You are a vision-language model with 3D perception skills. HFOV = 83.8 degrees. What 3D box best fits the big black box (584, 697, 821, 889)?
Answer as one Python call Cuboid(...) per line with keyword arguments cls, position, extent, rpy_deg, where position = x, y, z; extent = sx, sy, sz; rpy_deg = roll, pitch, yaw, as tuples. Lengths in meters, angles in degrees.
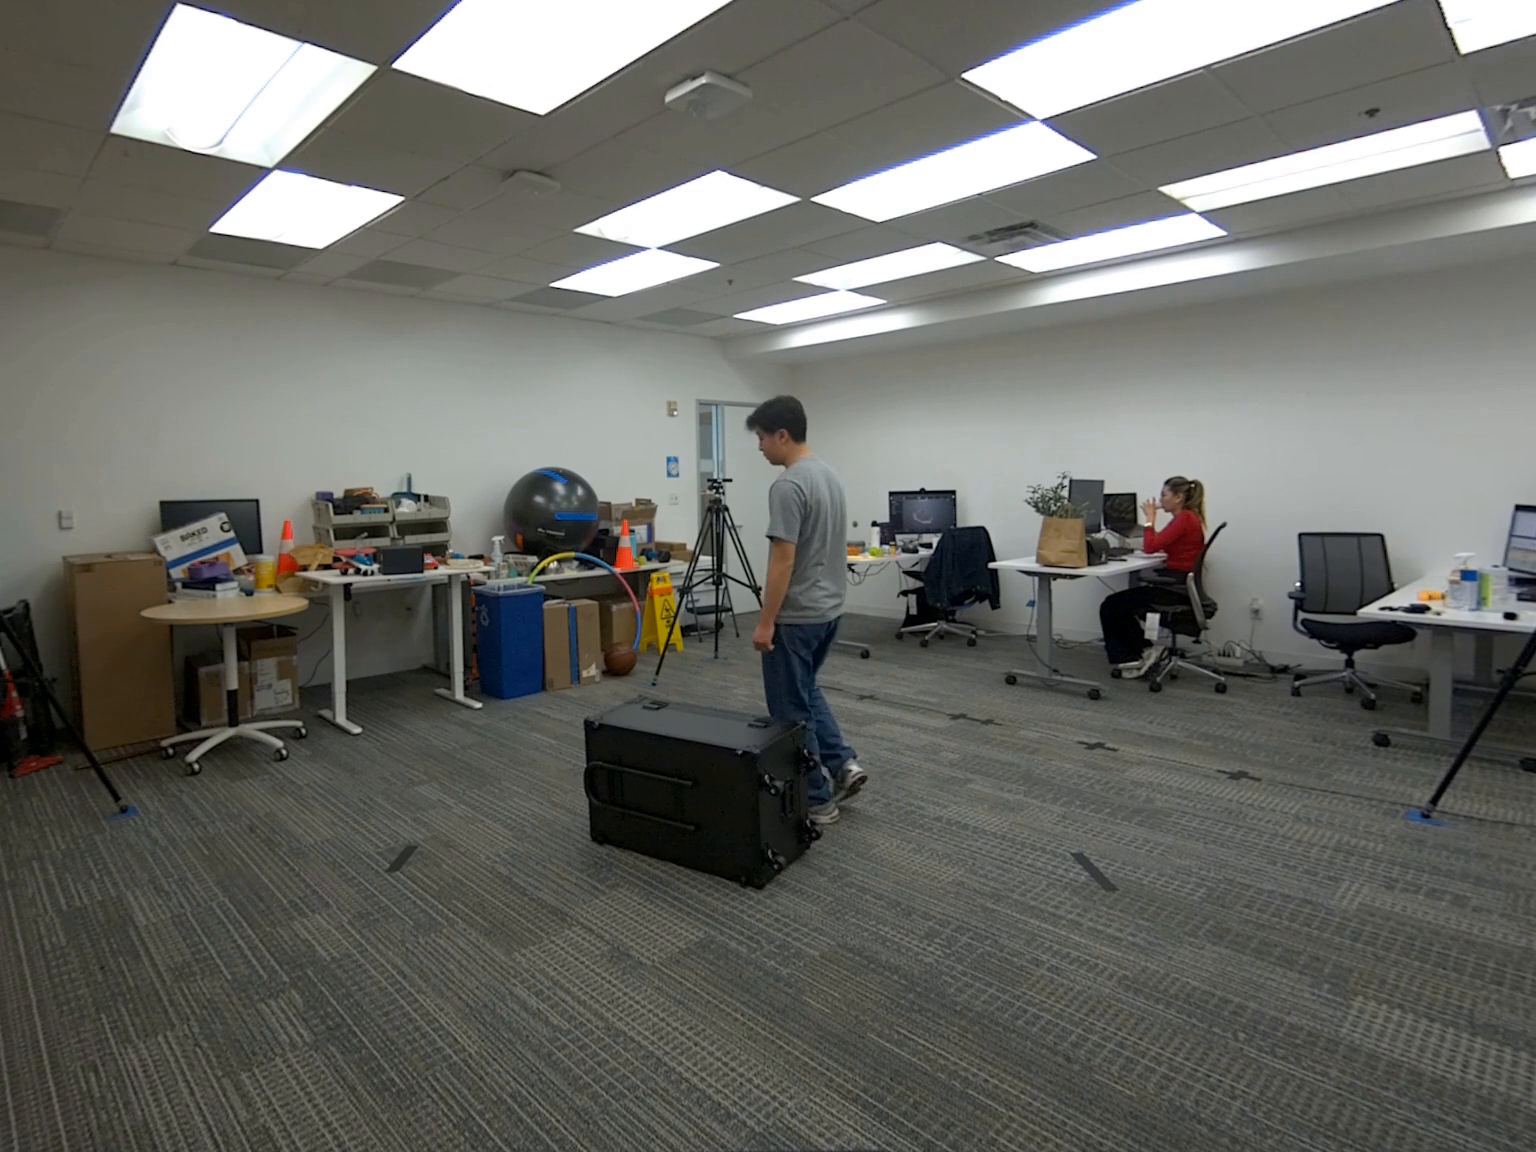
Cuboid(cls="big black box", position=(-0.258, 0.779, 3.207), extent=(0.885, 0.518, 0.388), rpy_deg=(2, 8, 32))
